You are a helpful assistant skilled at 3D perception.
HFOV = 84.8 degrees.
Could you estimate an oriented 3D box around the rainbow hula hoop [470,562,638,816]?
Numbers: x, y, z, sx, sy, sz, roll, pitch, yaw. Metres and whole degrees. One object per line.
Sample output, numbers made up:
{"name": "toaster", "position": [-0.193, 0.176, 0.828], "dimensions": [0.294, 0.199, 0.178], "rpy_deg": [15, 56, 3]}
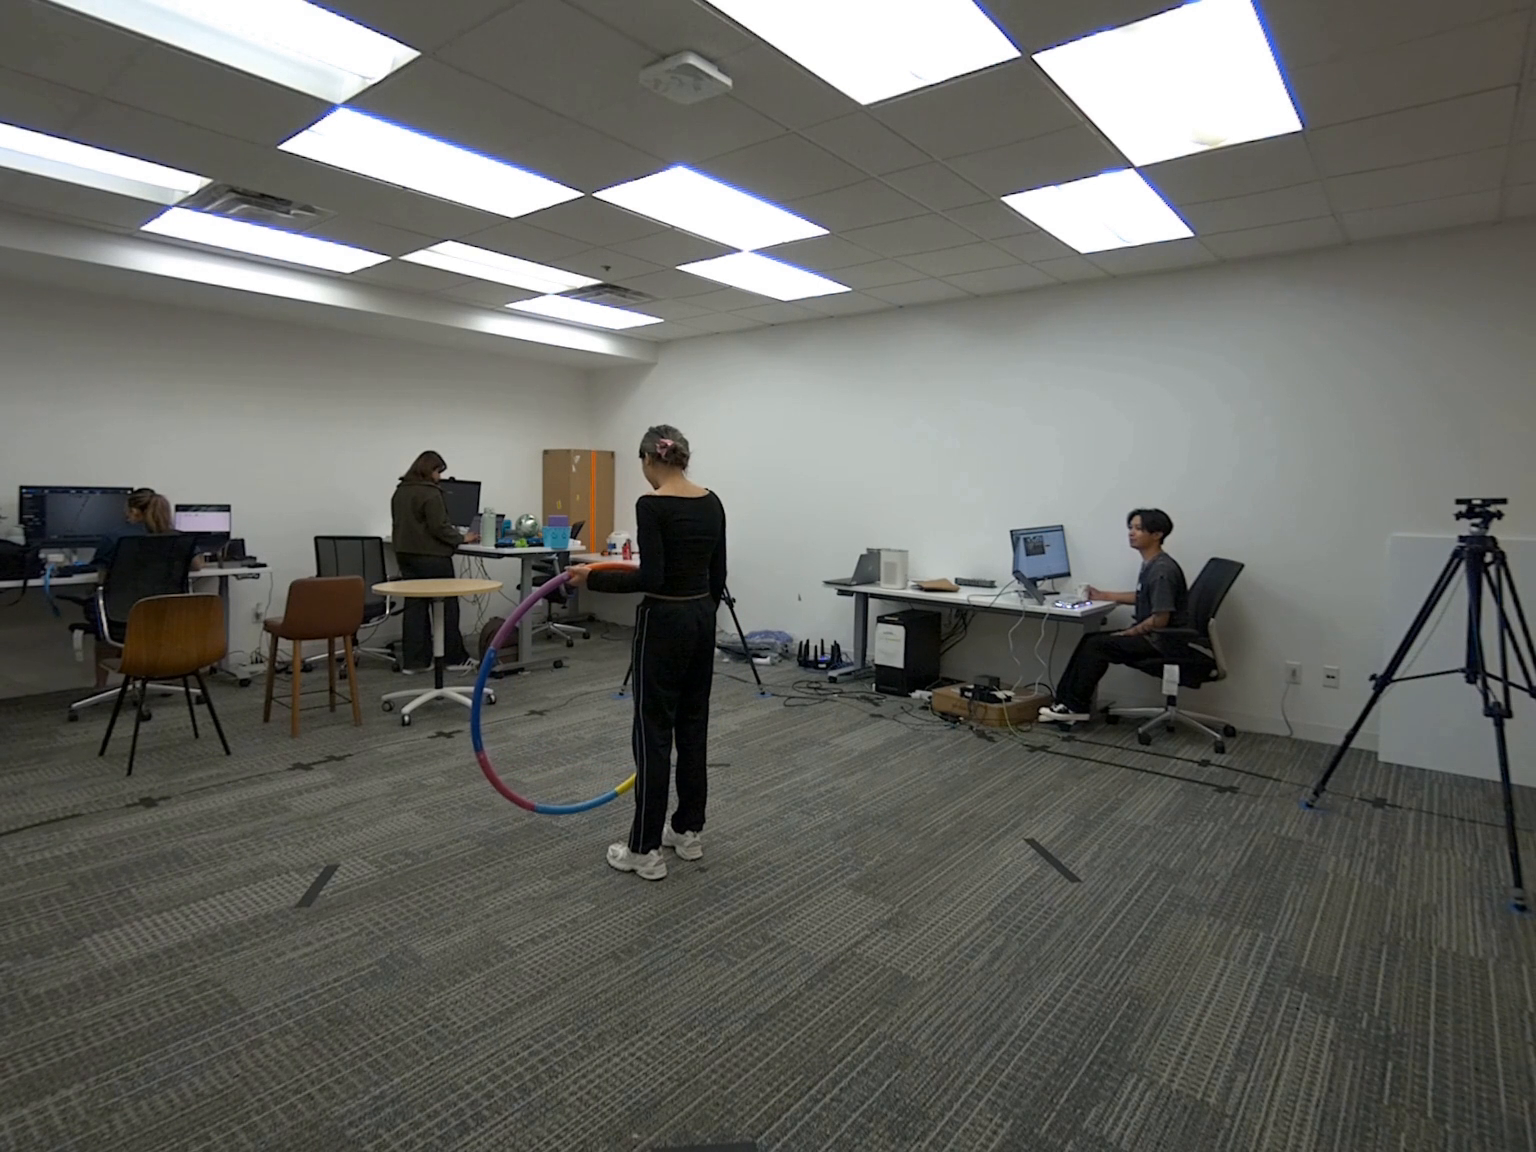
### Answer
{"name": "rainbow hula hoop", "position": [-0.683, 0.432, 3.232], "dimensions": [0.949, 0.970, 0.037], "rpy_deg": [-3, 14, -41]}
